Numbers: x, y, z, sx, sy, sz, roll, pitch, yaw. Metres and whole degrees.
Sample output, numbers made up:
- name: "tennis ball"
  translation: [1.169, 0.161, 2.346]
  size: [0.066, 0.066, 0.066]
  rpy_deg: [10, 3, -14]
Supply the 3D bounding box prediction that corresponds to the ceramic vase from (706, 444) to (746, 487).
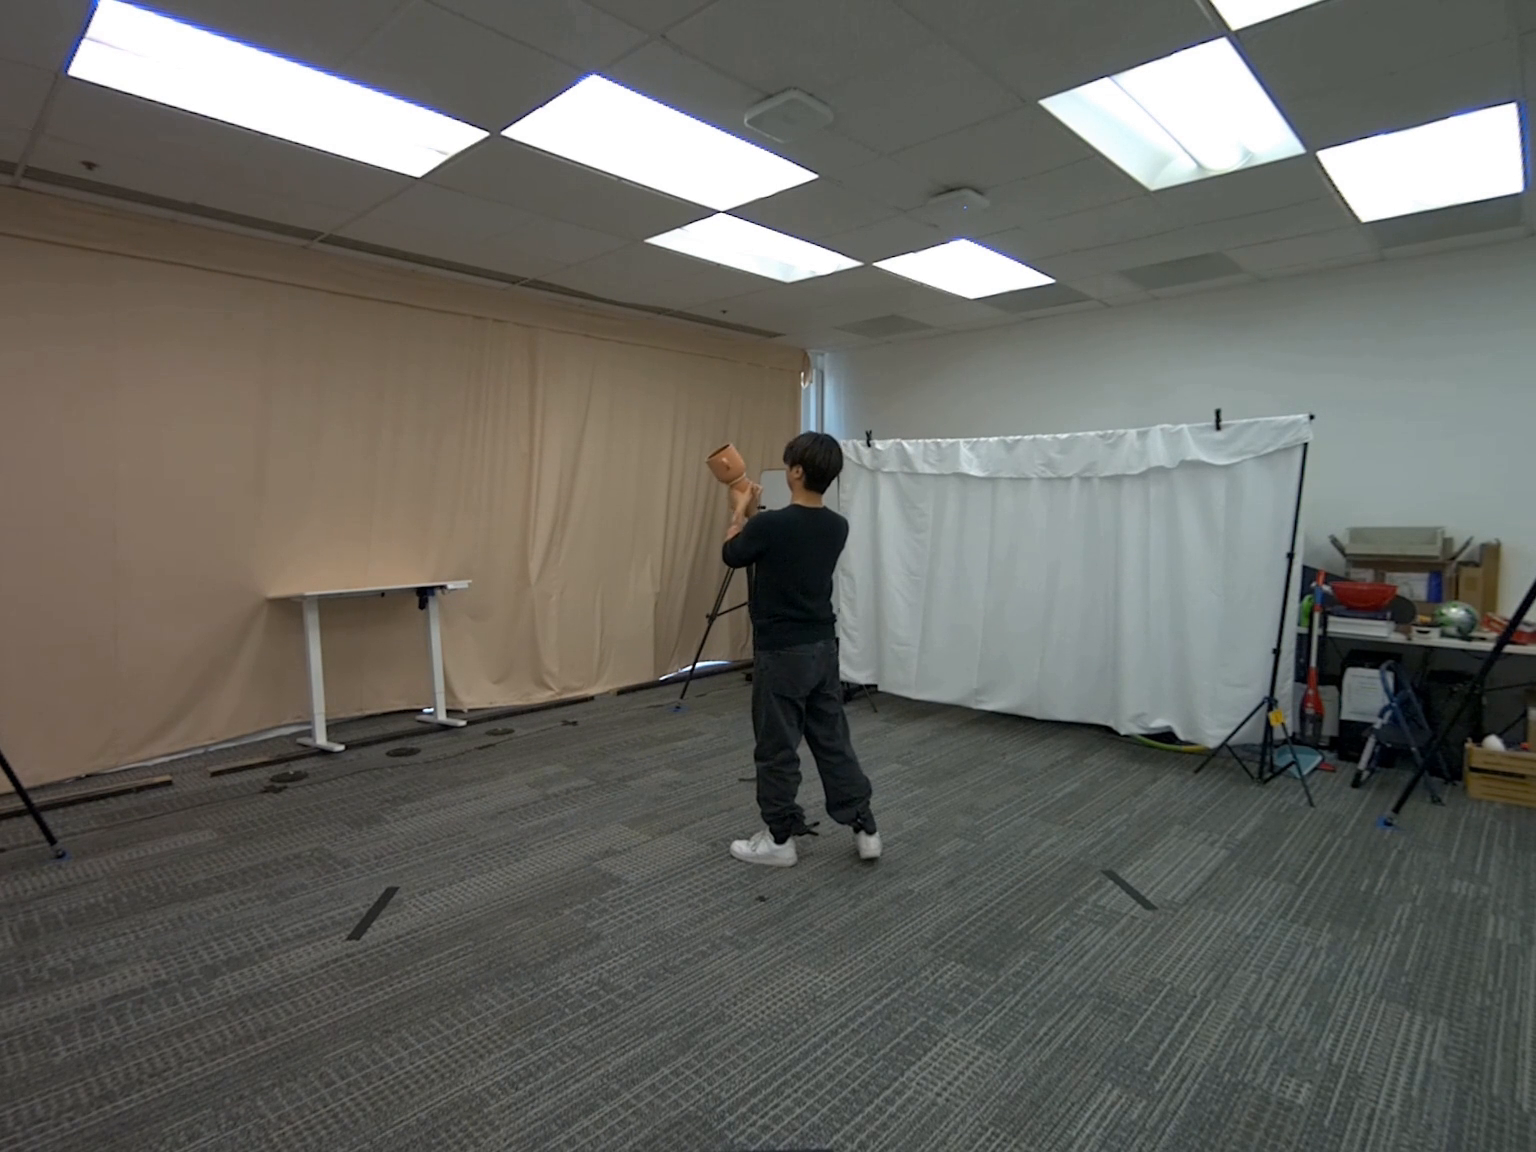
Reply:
- name: "ceramic vase"
  translation: [-0.147, -0.430, 3.542]
  size: [0.138, 0.216, 0.158]
  rpy_deg: [-20, 20, 39]
